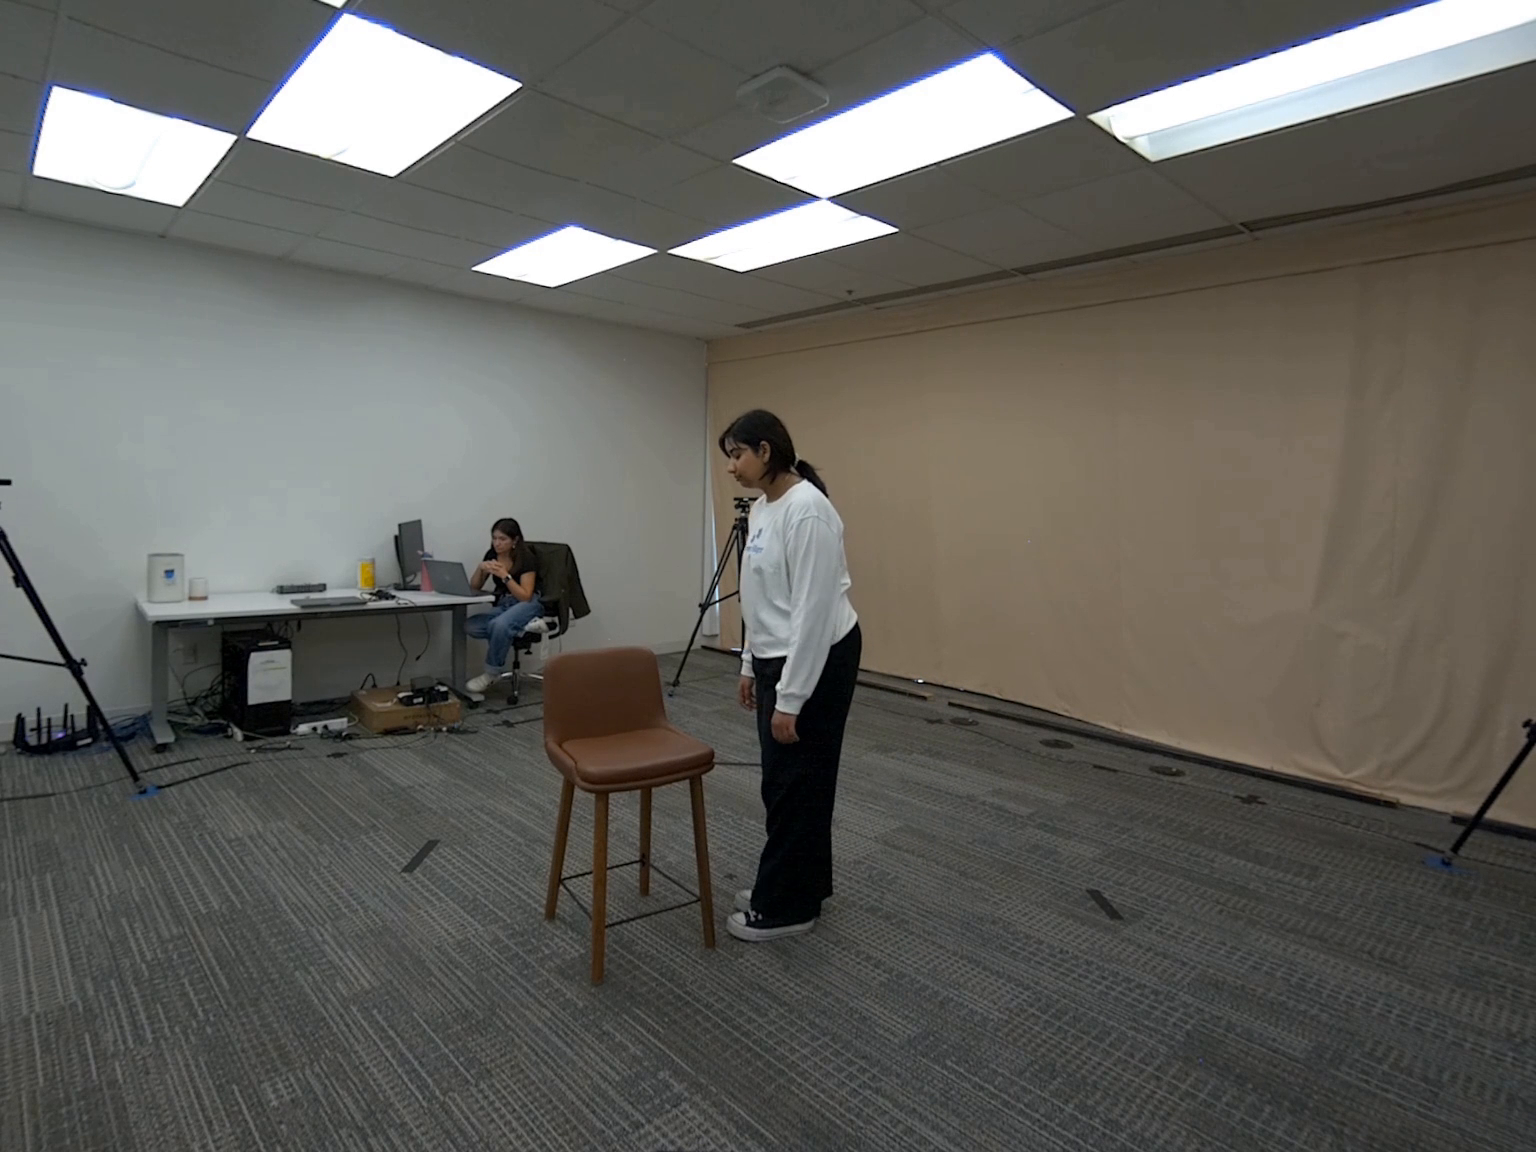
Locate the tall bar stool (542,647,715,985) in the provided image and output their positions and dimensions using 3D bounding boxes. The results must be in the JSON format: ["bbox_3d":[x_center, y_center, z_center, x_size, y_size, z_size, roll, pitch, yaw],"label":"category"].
[{"bbox_3d":[-0.450,0.706,2.667,0.446,0.889,0.478,-1,2,-34],"label":"tall bar stool"}]
